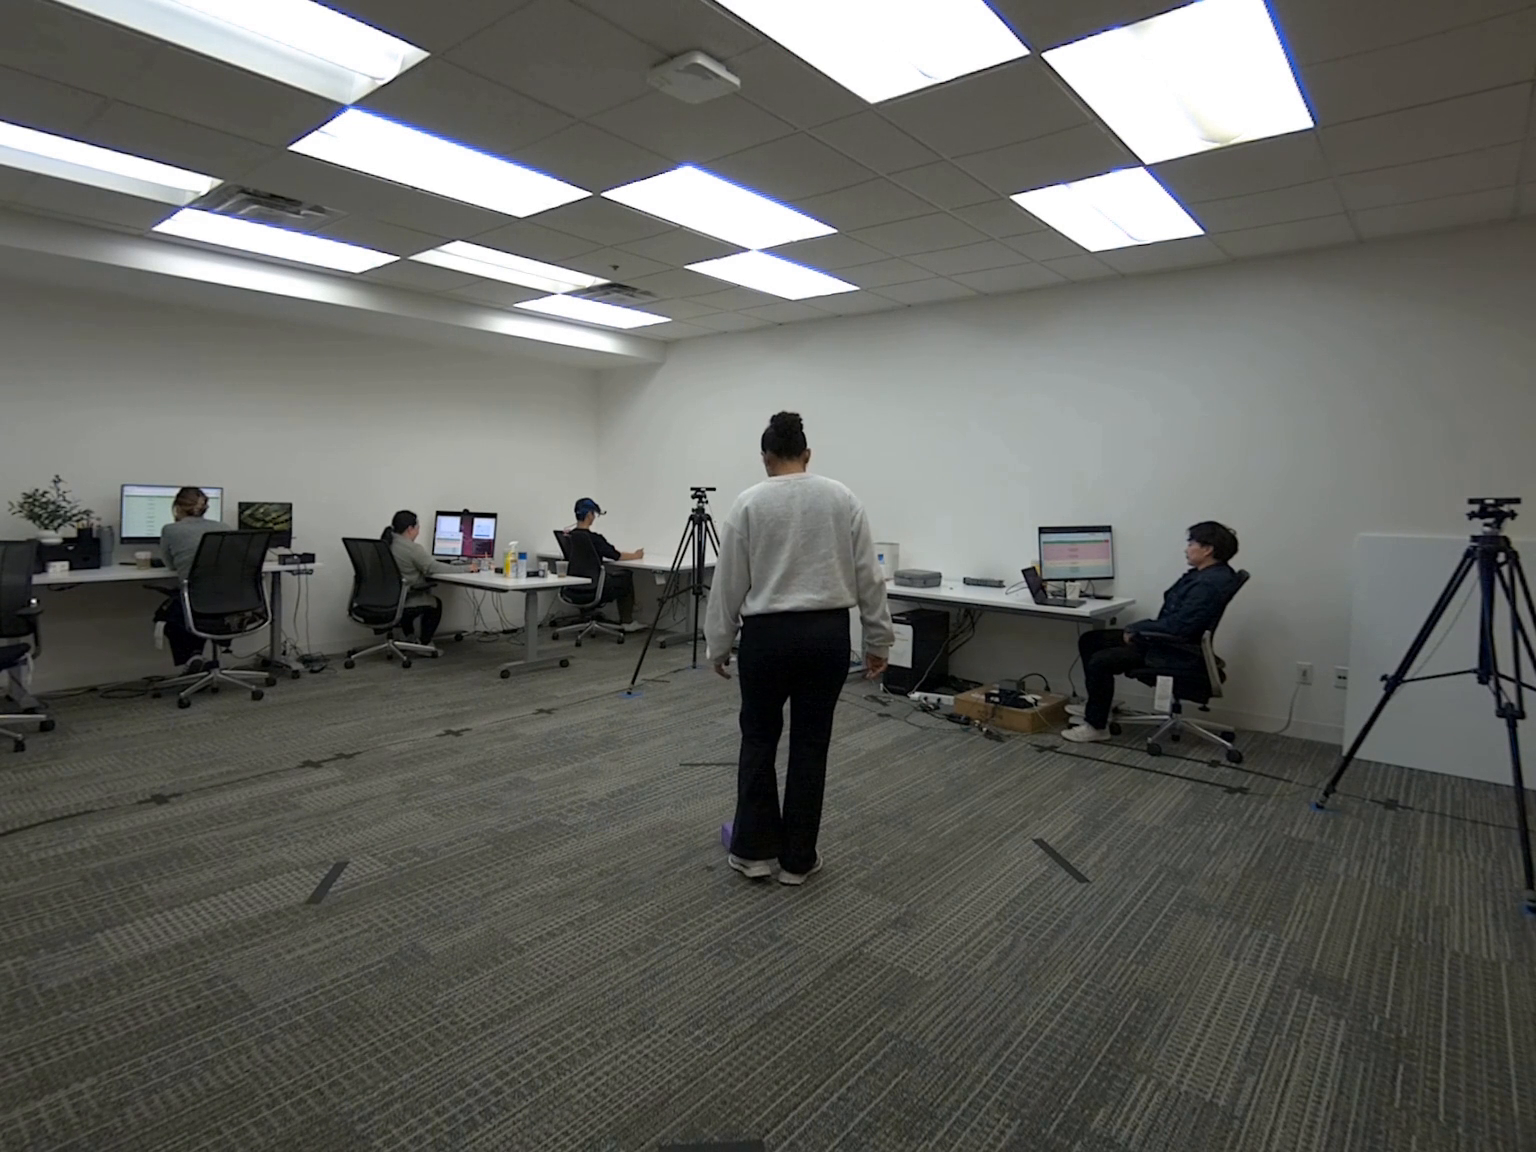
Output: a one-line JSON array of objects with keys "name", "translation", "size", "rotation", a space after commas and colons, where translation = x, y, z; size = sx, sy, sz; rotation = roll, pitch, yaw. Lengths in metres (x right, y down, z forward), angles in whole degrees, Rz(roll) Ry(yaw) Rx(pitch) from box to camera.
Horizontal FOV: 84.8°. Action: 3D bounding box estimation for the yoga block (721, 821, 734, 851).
[{"name": "yoga block", "translation": [-0.054, 0.999, 3.336], "size": [0.226, 0.076, 0.152], "rotation": [-2, 5, -16]}]
